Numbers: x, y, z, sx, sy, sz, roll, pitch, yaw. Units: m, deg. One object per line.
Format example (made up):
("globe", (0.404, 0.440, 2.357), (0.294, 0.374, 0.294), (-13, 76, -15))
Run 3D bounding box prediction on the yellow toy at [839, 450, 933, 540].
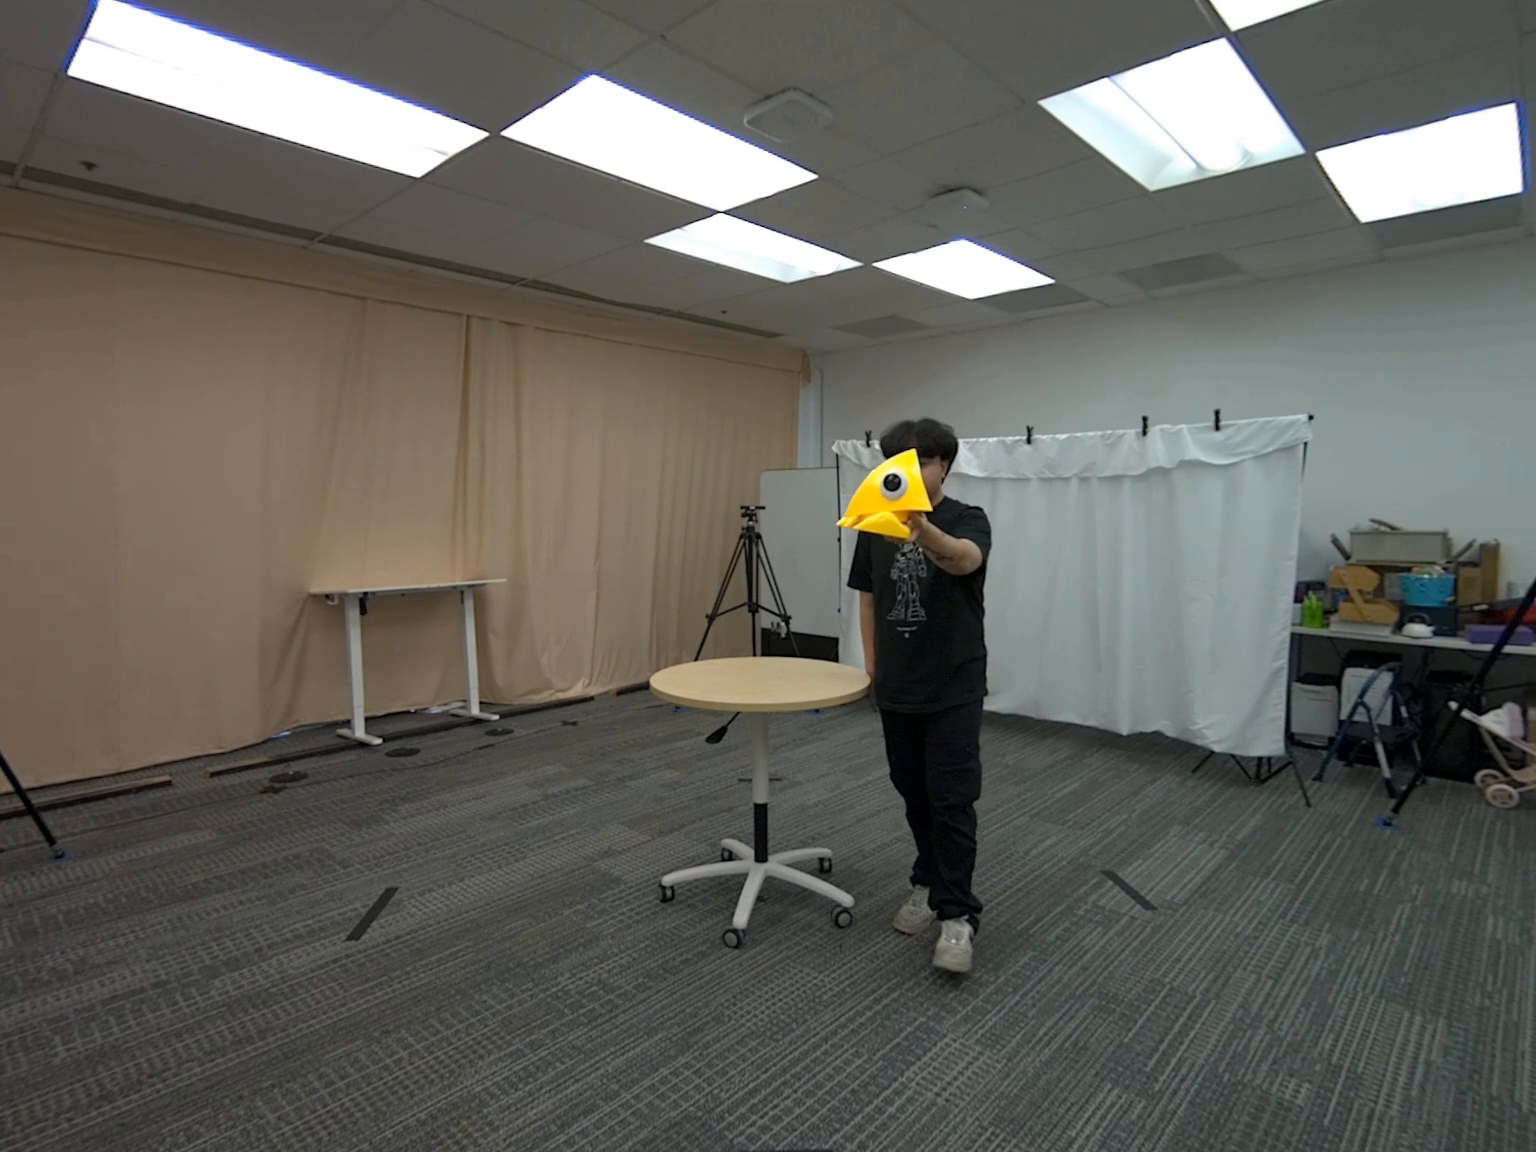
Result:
("yellow toy", (0.315, -0.226, 2.168), (0.190, 0.230, 0.209), (10, 4, -16))
